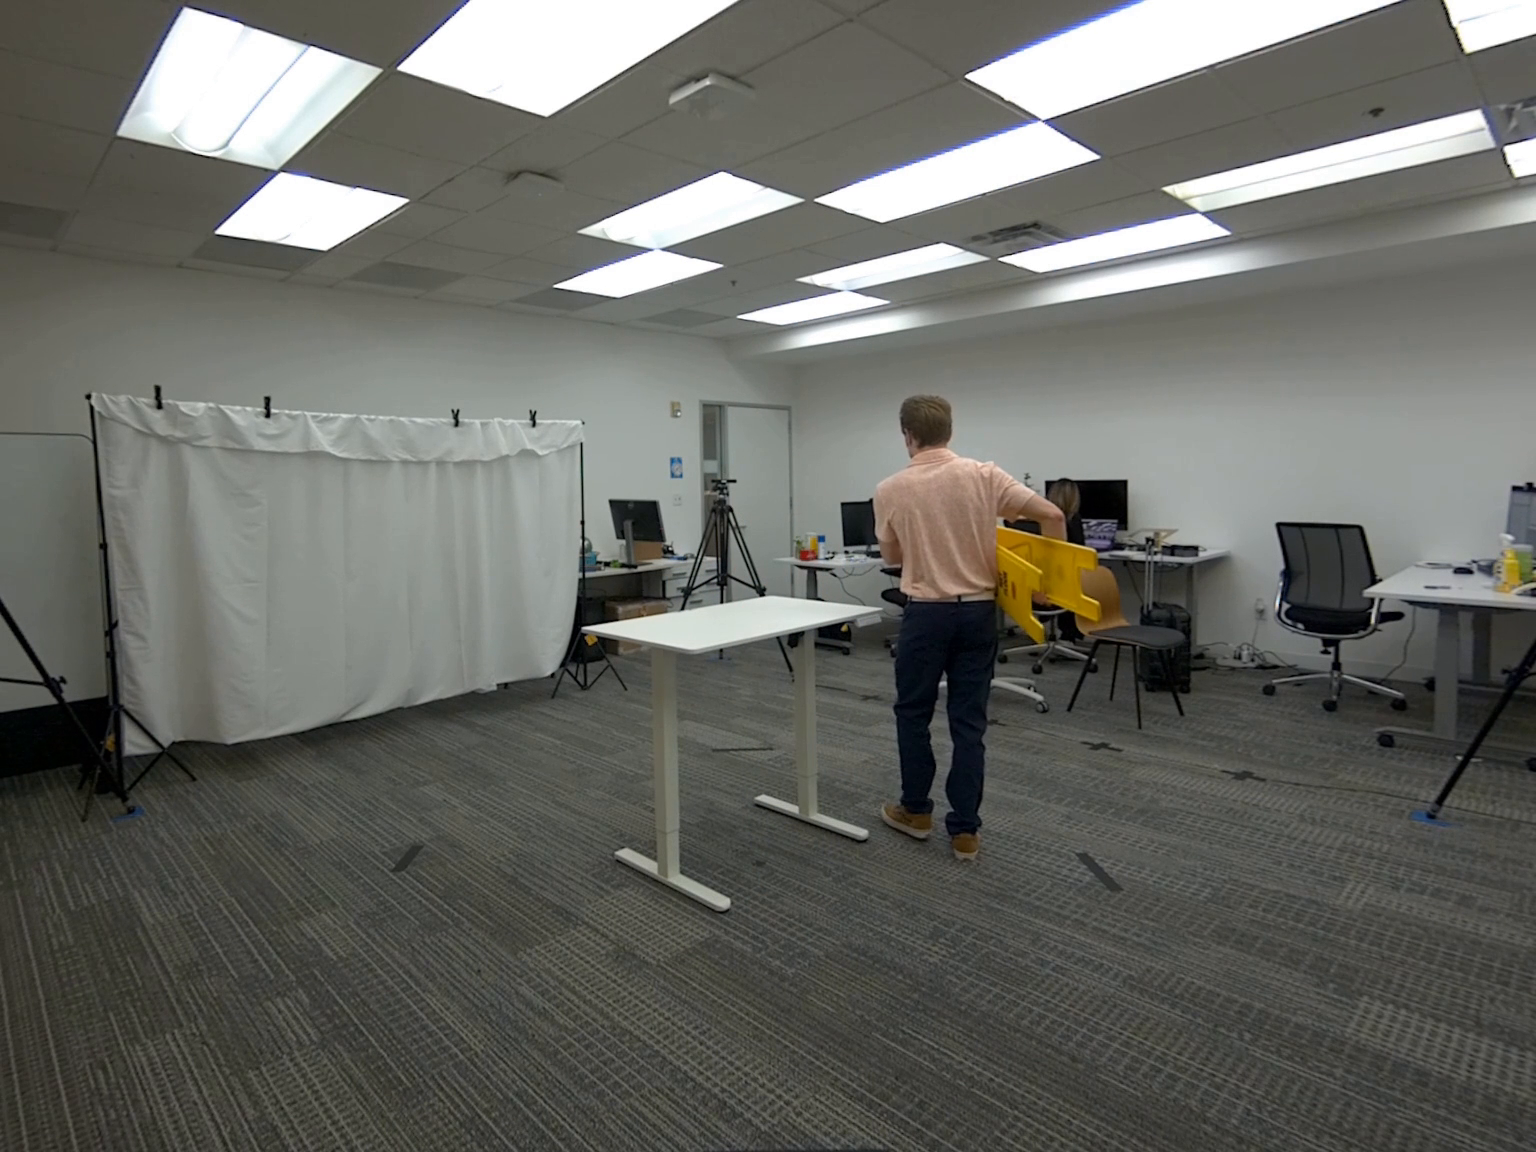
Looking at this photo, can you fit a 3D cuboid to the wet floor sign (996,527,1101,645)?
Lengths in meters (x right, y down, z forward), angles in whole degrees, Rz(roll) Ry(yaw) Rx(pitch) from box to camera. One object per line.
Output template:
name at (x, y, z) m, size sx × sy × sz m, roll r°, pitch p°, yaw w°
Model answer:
wet floor sign at (0.888, -0.023, 3.159) m, size 0.287 × 0.275 × 0.668 m, roll -18°, pitch 27°, yaw -14°
